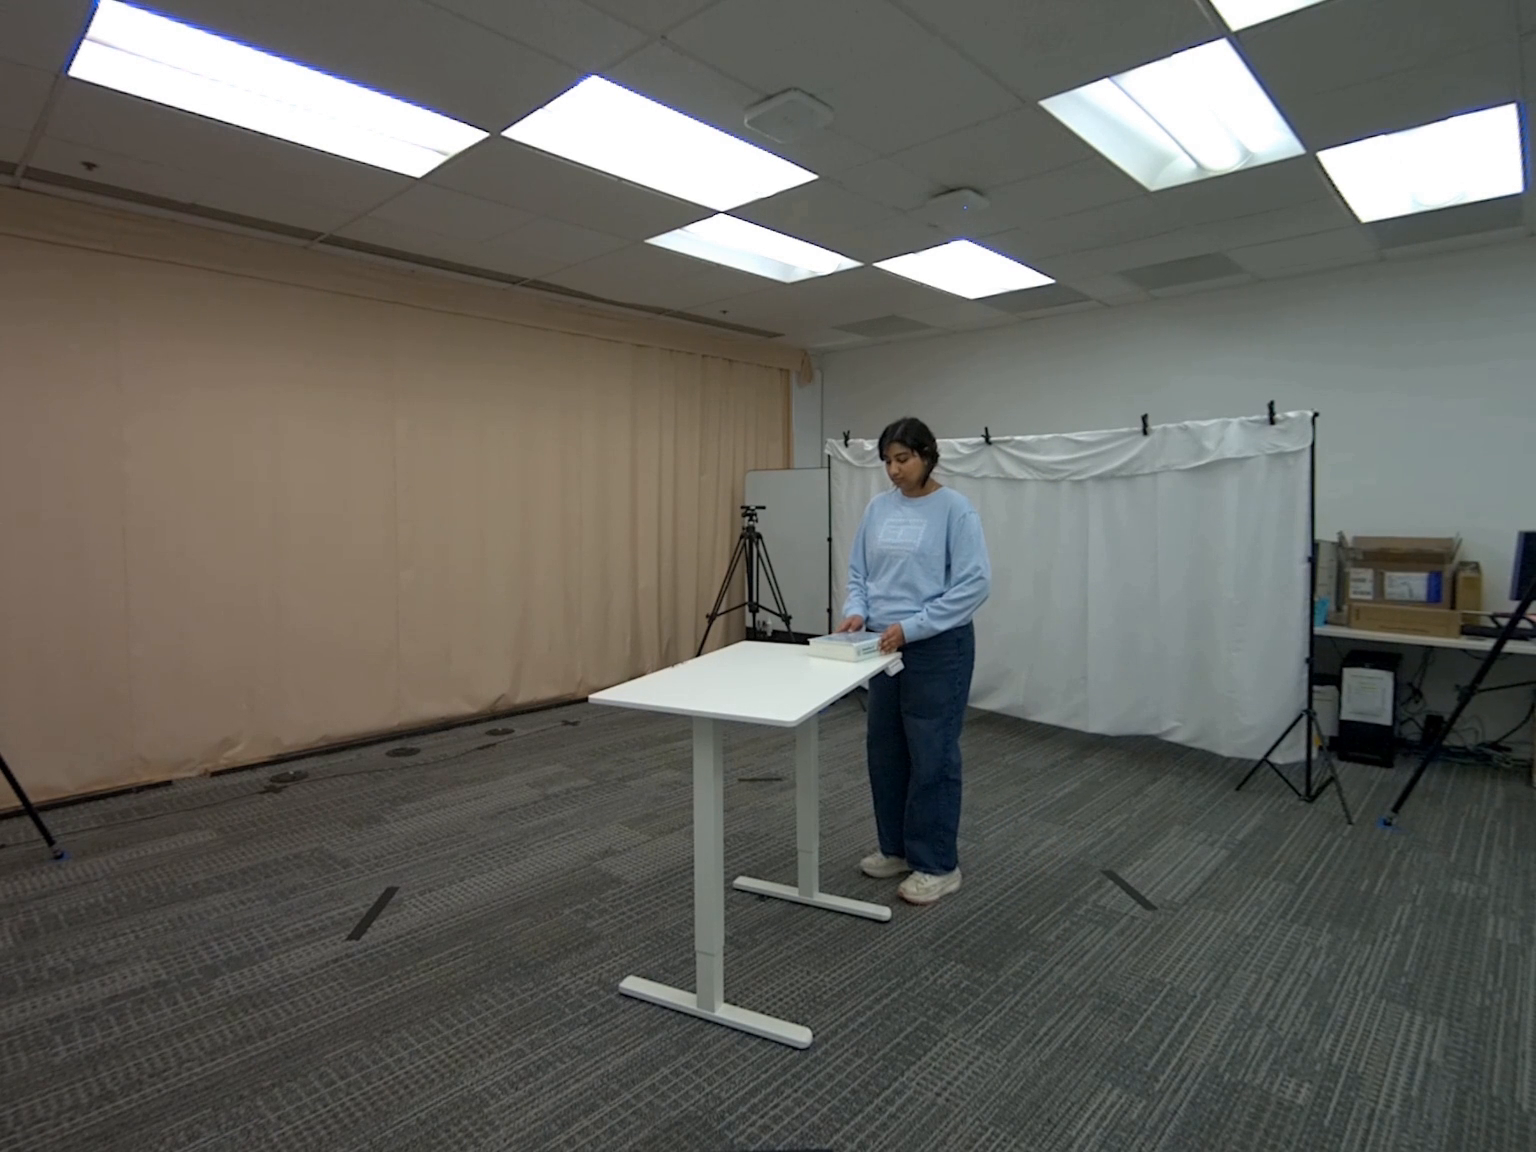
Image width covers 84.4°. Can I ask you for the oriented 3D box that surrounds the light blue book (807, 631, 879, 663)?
[{"bbox_3d":[0.289,0.244,2.858,0.198,0.059,0.253,3,5,40],"label":"light blue book"}]
